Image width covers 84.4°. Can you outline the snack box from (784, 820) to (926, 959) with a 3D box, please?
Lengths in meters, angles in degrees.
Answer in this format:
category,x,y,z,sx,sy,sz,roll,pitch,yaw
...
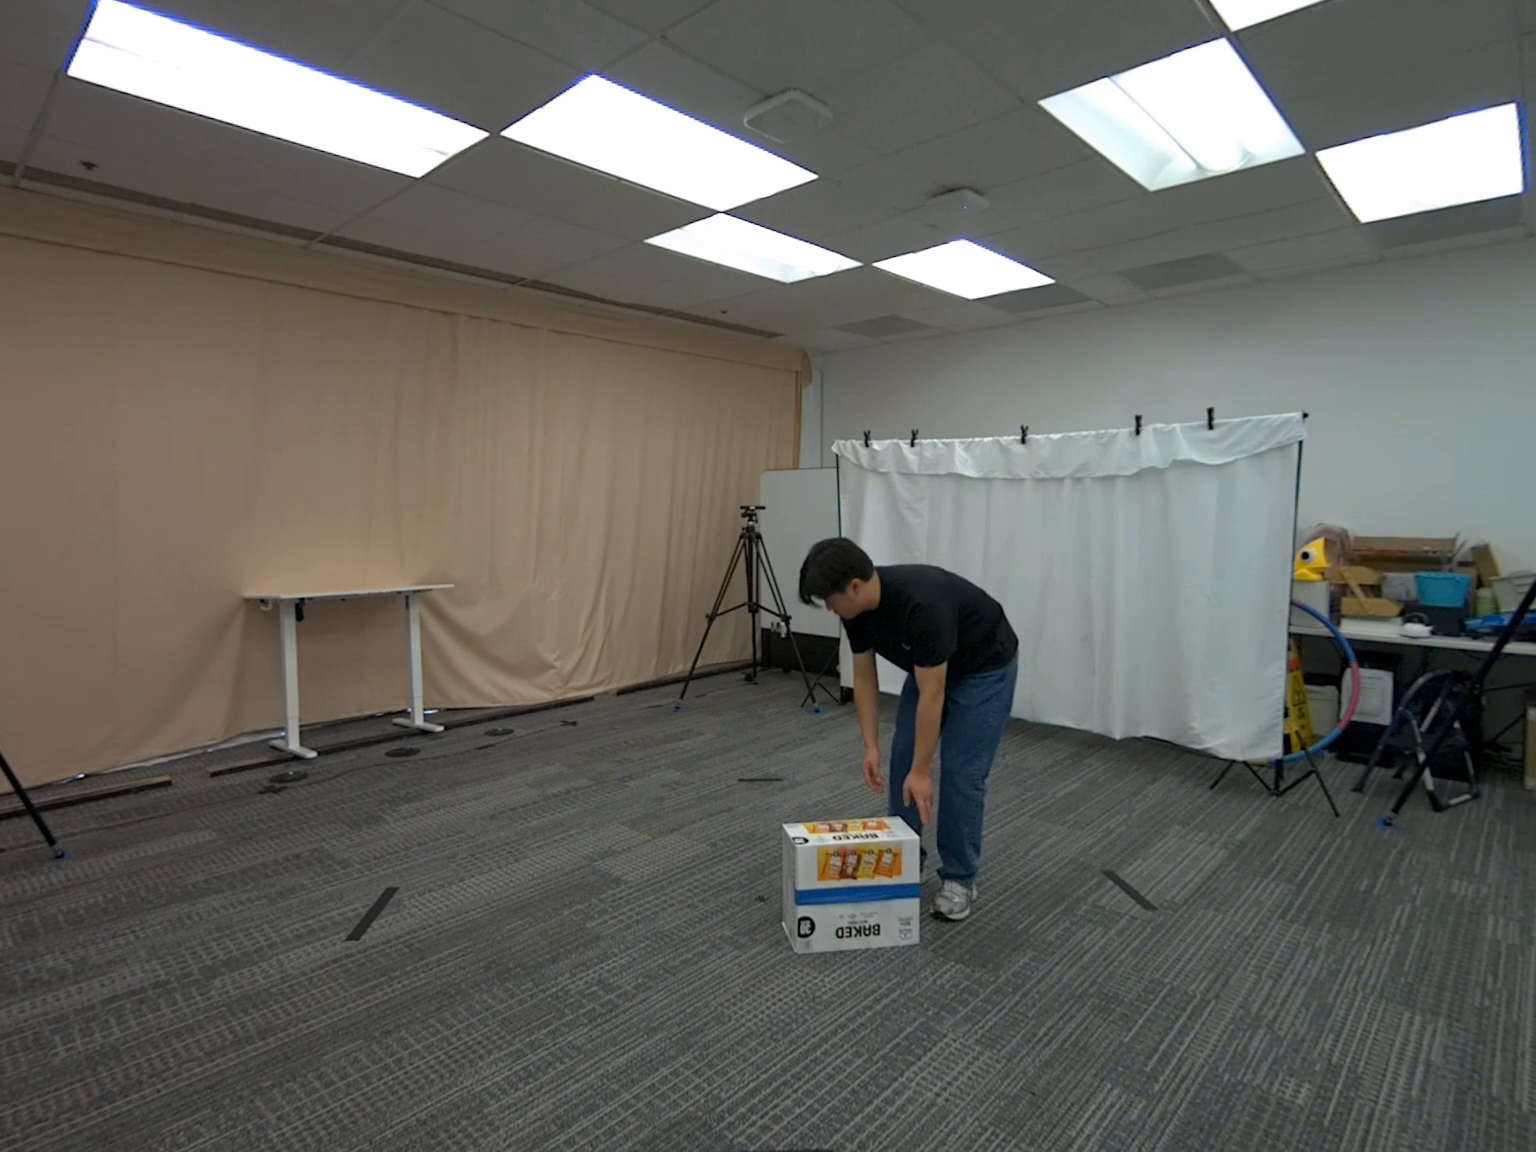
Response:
category,x,y,z,sx,sy,sz,roll,pitch,yaw
snack box,0.271,0.997,2.724,0.402,0.340,0.207,0,1,-8
